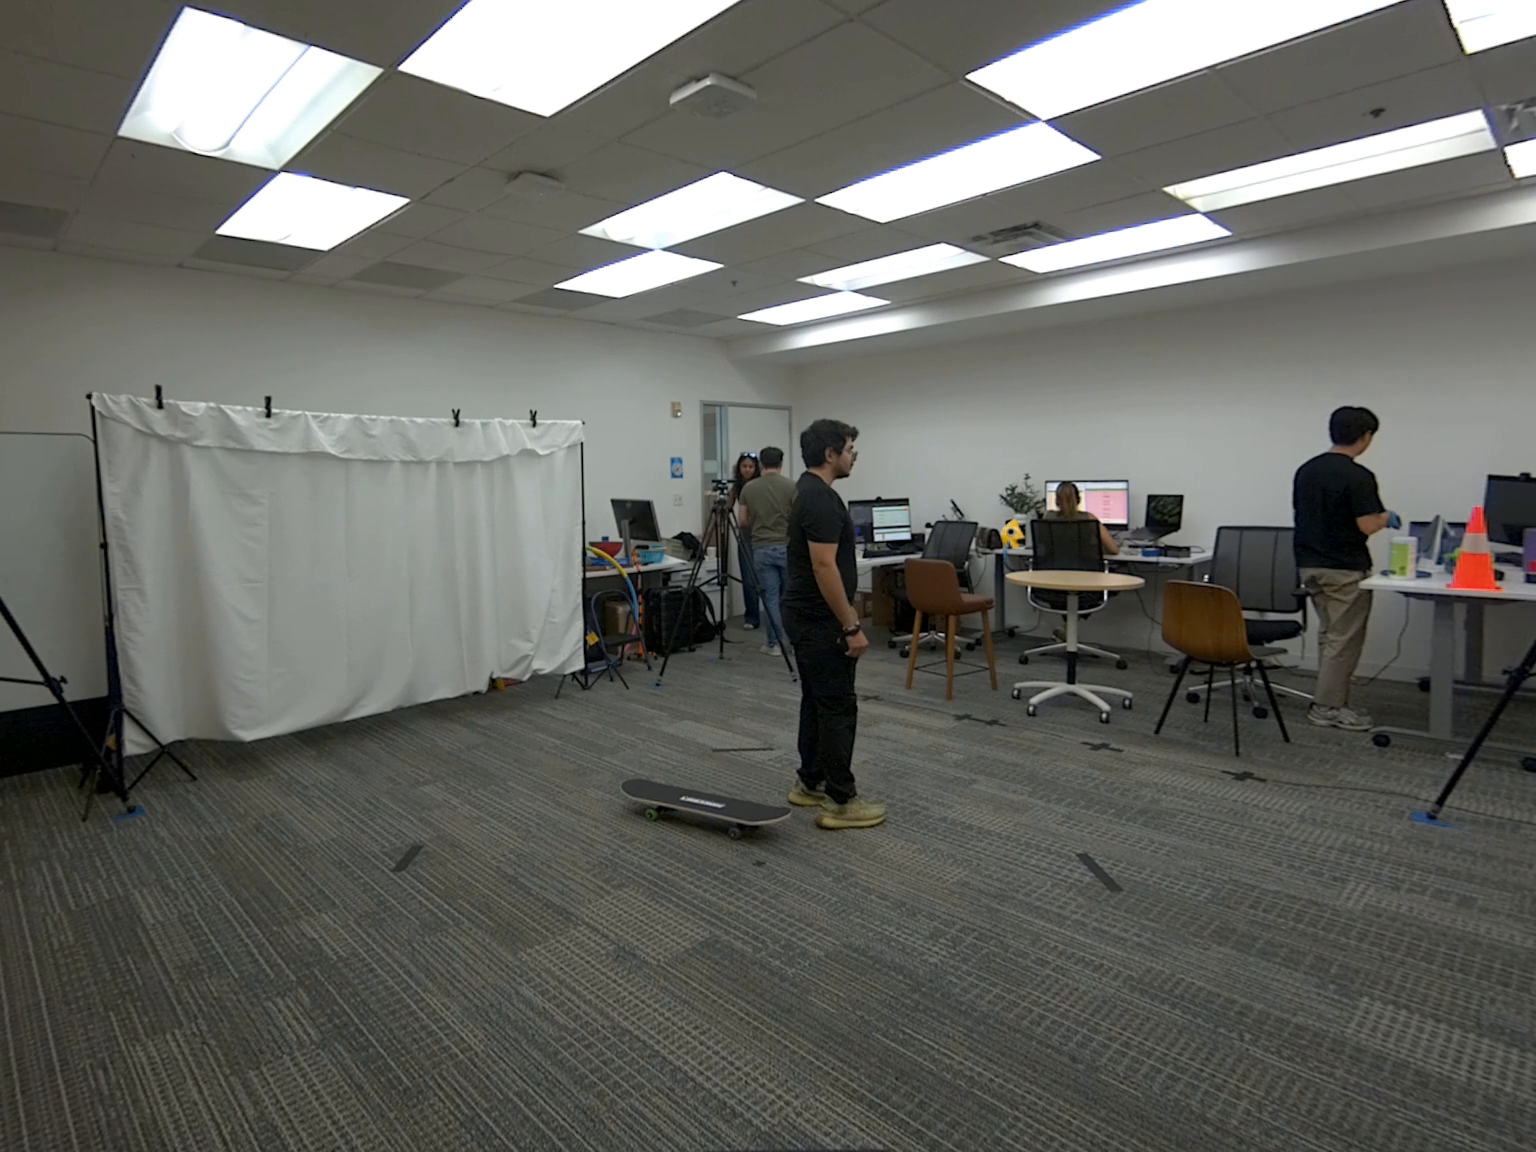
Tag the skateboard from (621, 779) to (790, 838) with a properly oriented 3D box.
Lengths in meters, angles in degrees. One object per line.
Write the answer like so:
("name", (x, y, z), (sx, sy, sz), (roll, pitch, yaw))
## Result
("skateboard", (-0.264, 0.952, 3.493), (0.806, 0.110, 0.189), (3, 6, 30))
